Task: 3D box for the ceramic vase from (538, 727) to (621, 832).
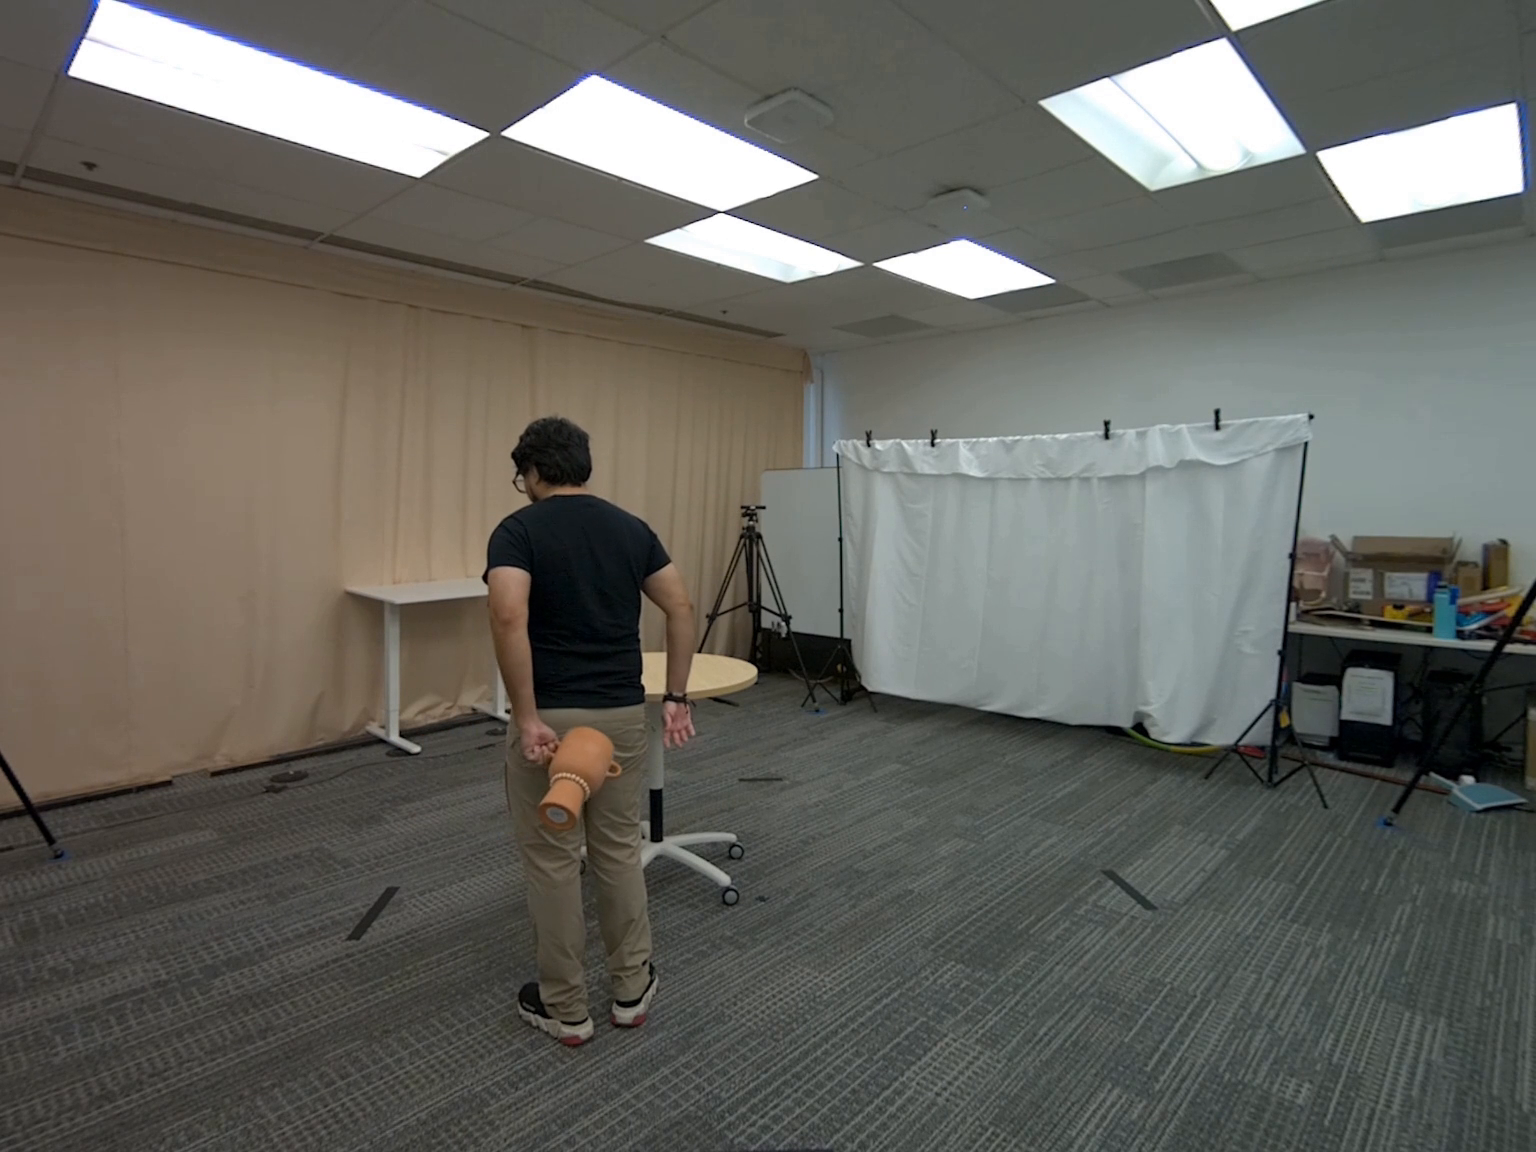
[{"bbox_3d":[-0.465,0.480,1.992,0.162,0.131,0.221,-18,28,22],"label":"ceramic vase"}]
